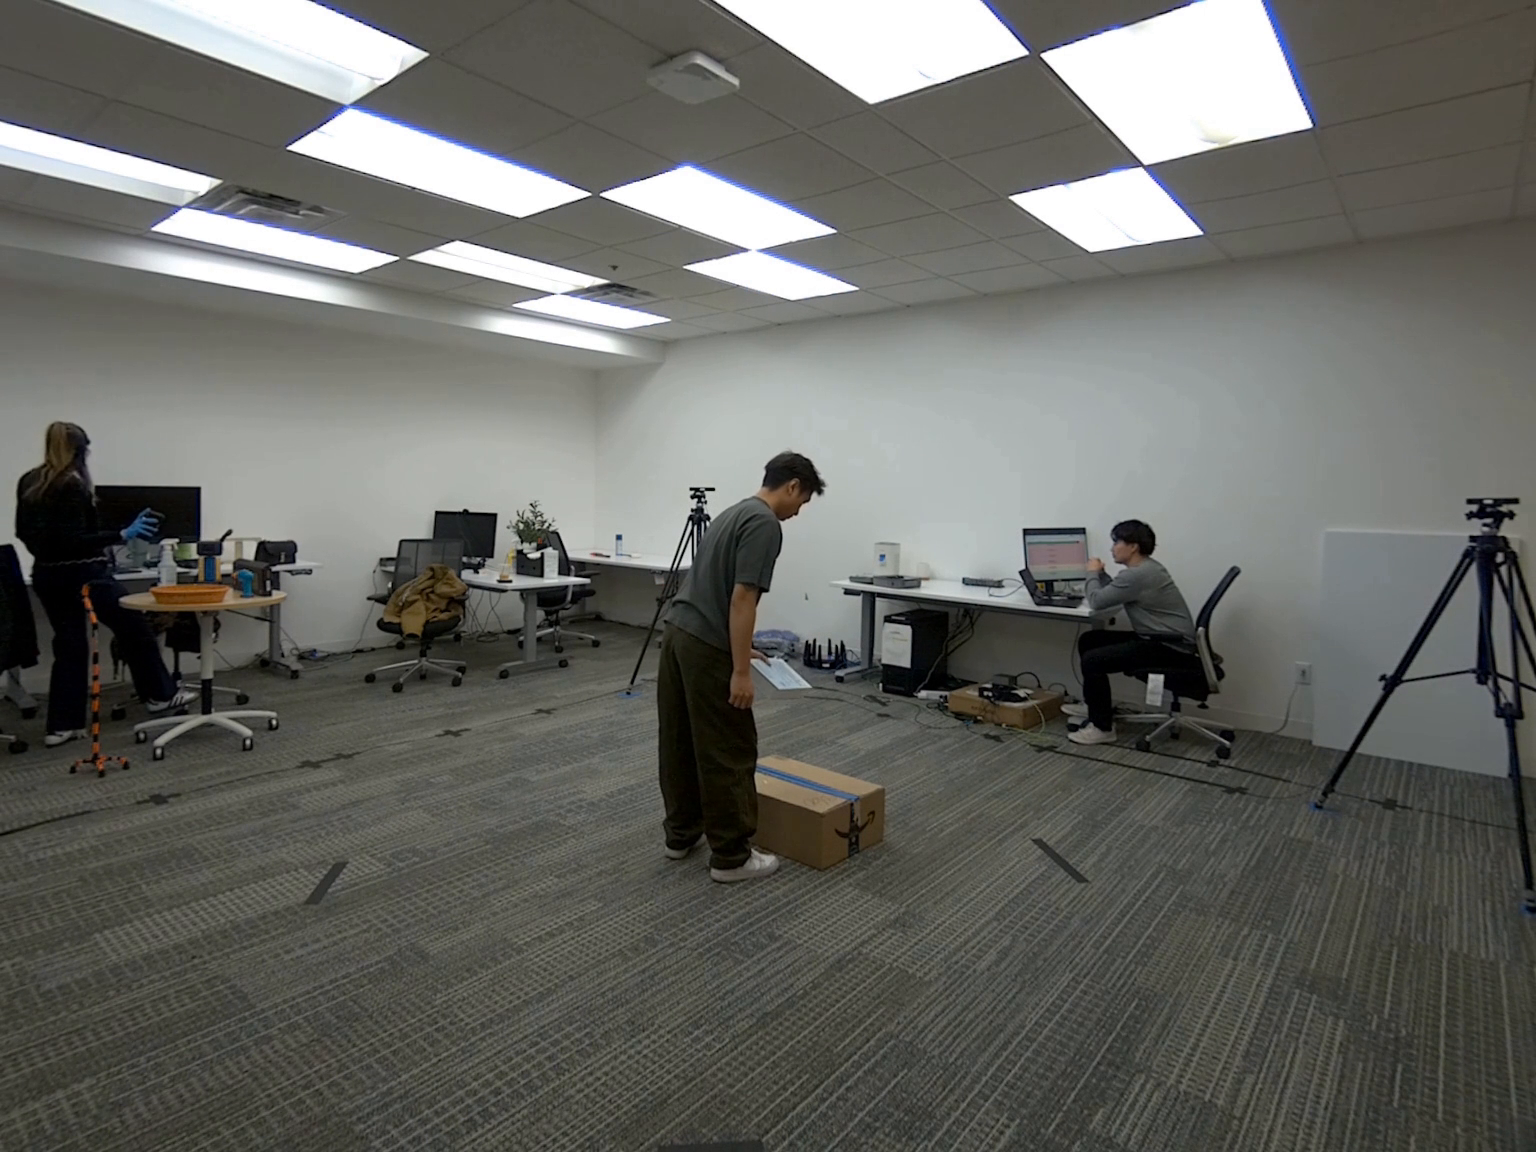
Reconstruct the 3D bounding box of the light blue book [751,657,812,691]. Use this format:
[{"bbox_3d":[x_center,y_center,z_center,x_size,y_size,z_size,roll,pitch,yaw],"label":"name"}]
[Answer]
[{"bbox_3d":[0.026,0.409,3.394,0.199,0.059,0.252,41,18,30],"label":"light blue book"}]
